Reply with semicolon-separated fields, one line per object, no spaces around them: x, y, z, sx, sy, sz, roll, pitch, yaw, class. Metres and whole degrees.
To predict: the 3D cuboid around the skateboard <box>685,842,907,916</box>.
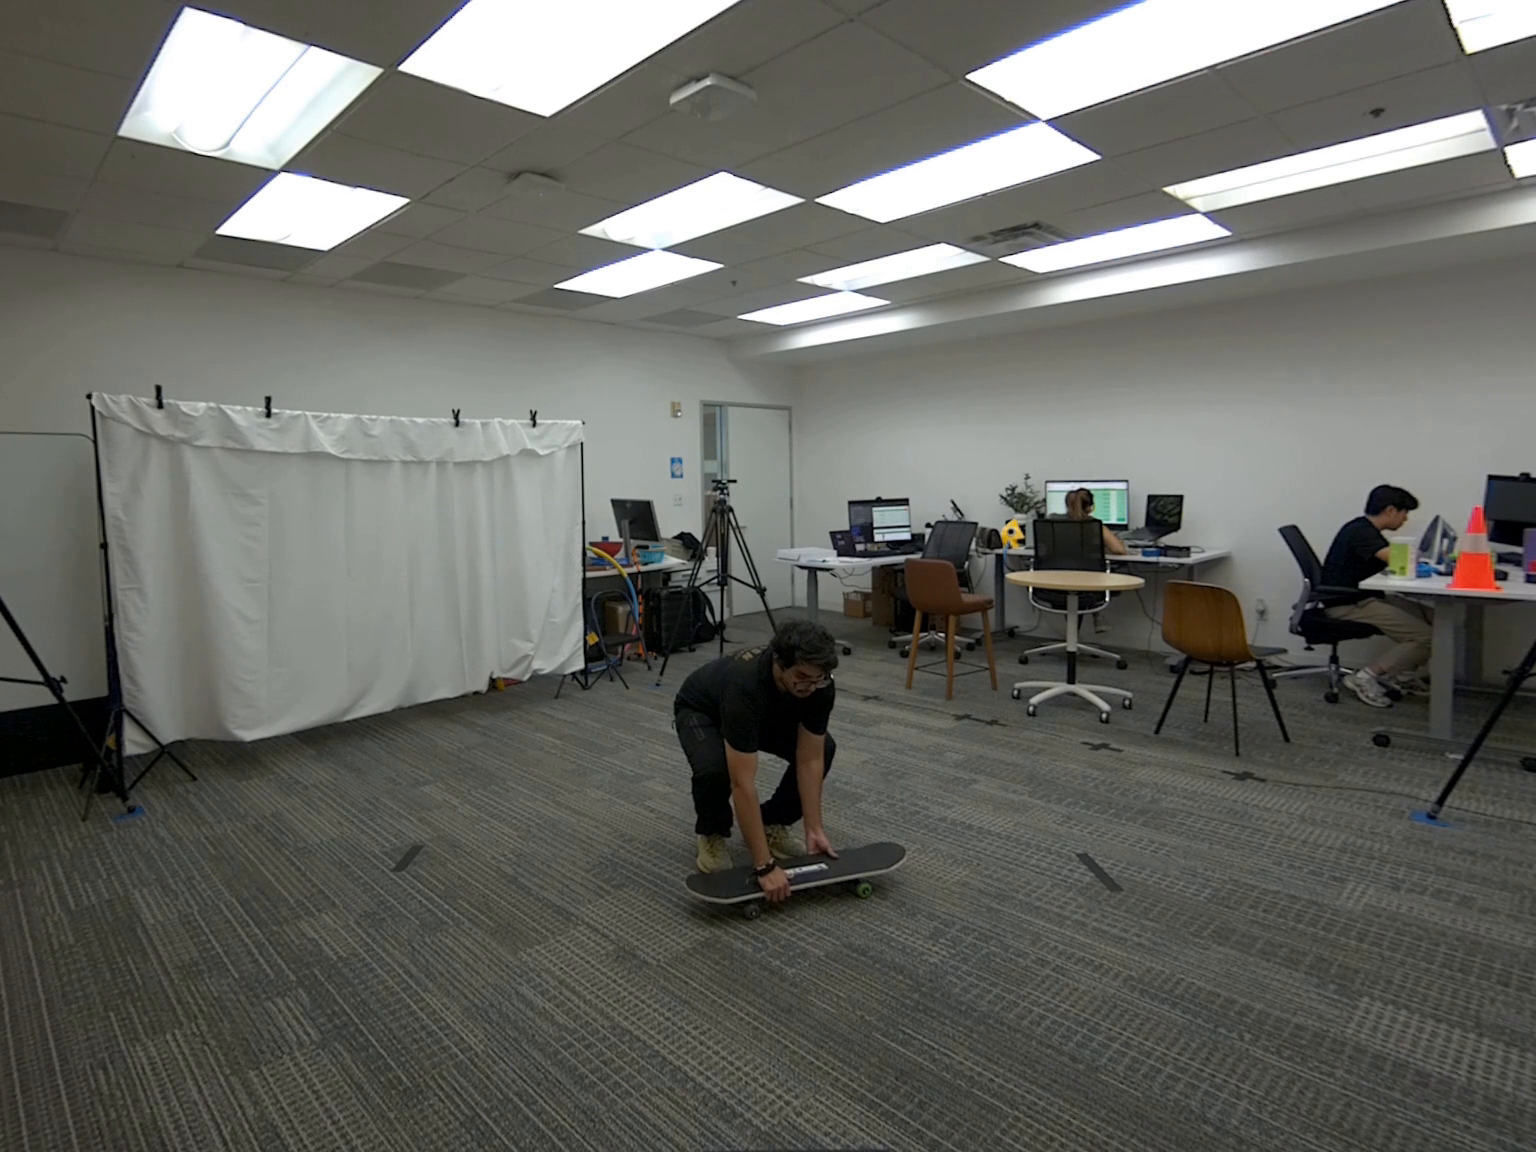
0.115;1.009;2.852;0.772;0.110;0.198;-5;6;-19;skateboard
